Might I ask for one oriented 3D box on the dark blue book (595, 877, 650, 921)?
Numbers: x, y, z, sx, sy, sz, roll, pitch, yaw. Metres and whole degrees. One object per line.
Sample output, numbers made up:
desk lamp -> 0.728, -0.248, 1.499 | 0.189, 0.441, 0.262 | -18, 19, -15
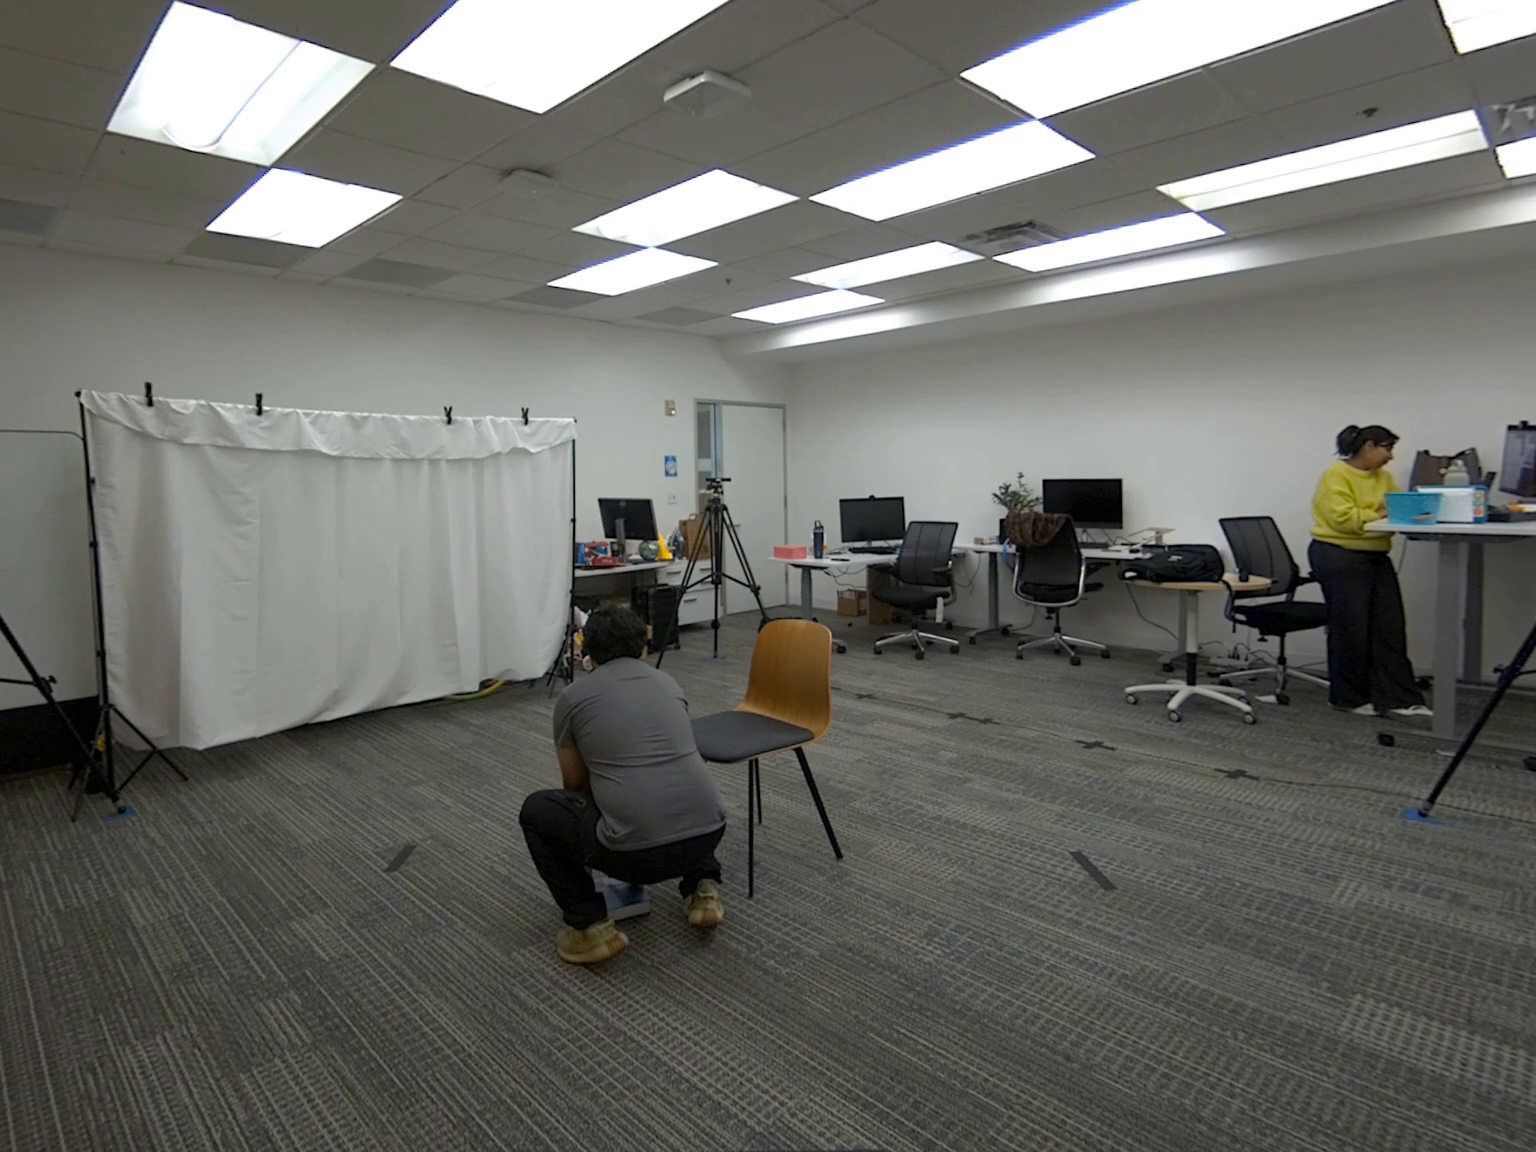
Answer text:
dark blue book -> -0.499, 1.060, 2.826 | 0.159, 0.045, 0.252 | -2, 5, -29
